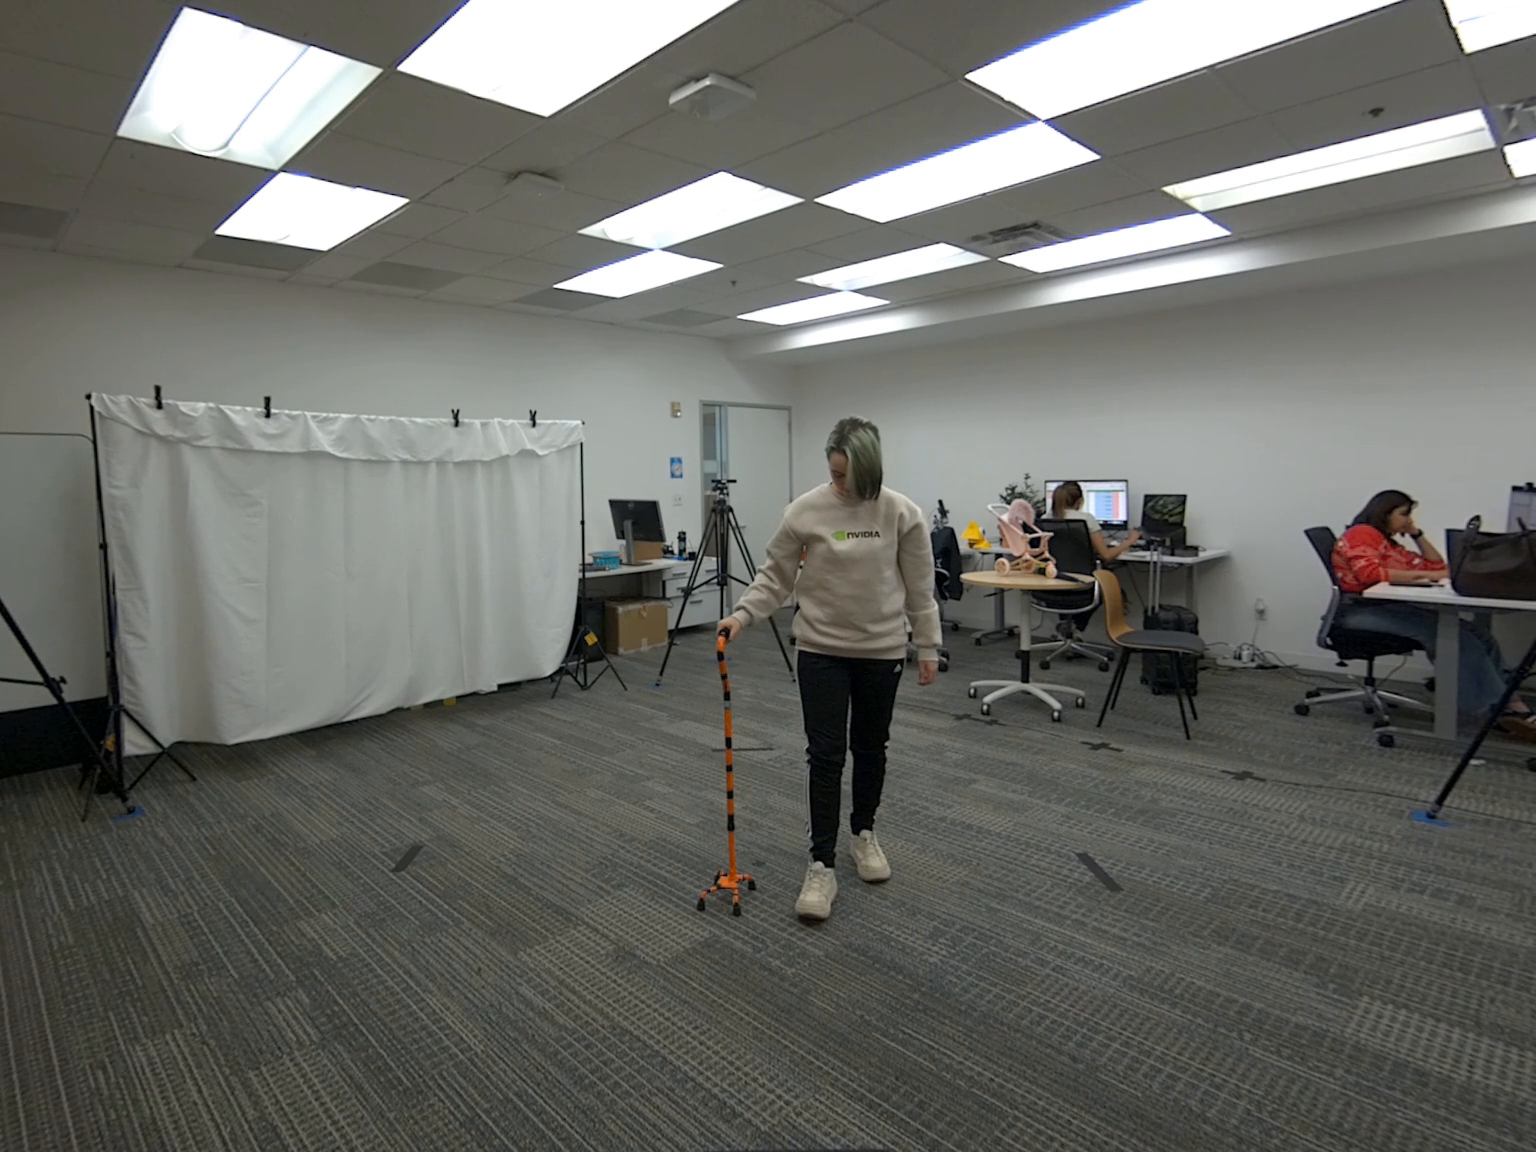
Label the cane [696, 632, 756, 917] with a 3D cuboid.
[{"bbox_3d":[-0.136,0.624,2.822,0.154,0.904,0.204,0,4,14],"label":"cane"}]
